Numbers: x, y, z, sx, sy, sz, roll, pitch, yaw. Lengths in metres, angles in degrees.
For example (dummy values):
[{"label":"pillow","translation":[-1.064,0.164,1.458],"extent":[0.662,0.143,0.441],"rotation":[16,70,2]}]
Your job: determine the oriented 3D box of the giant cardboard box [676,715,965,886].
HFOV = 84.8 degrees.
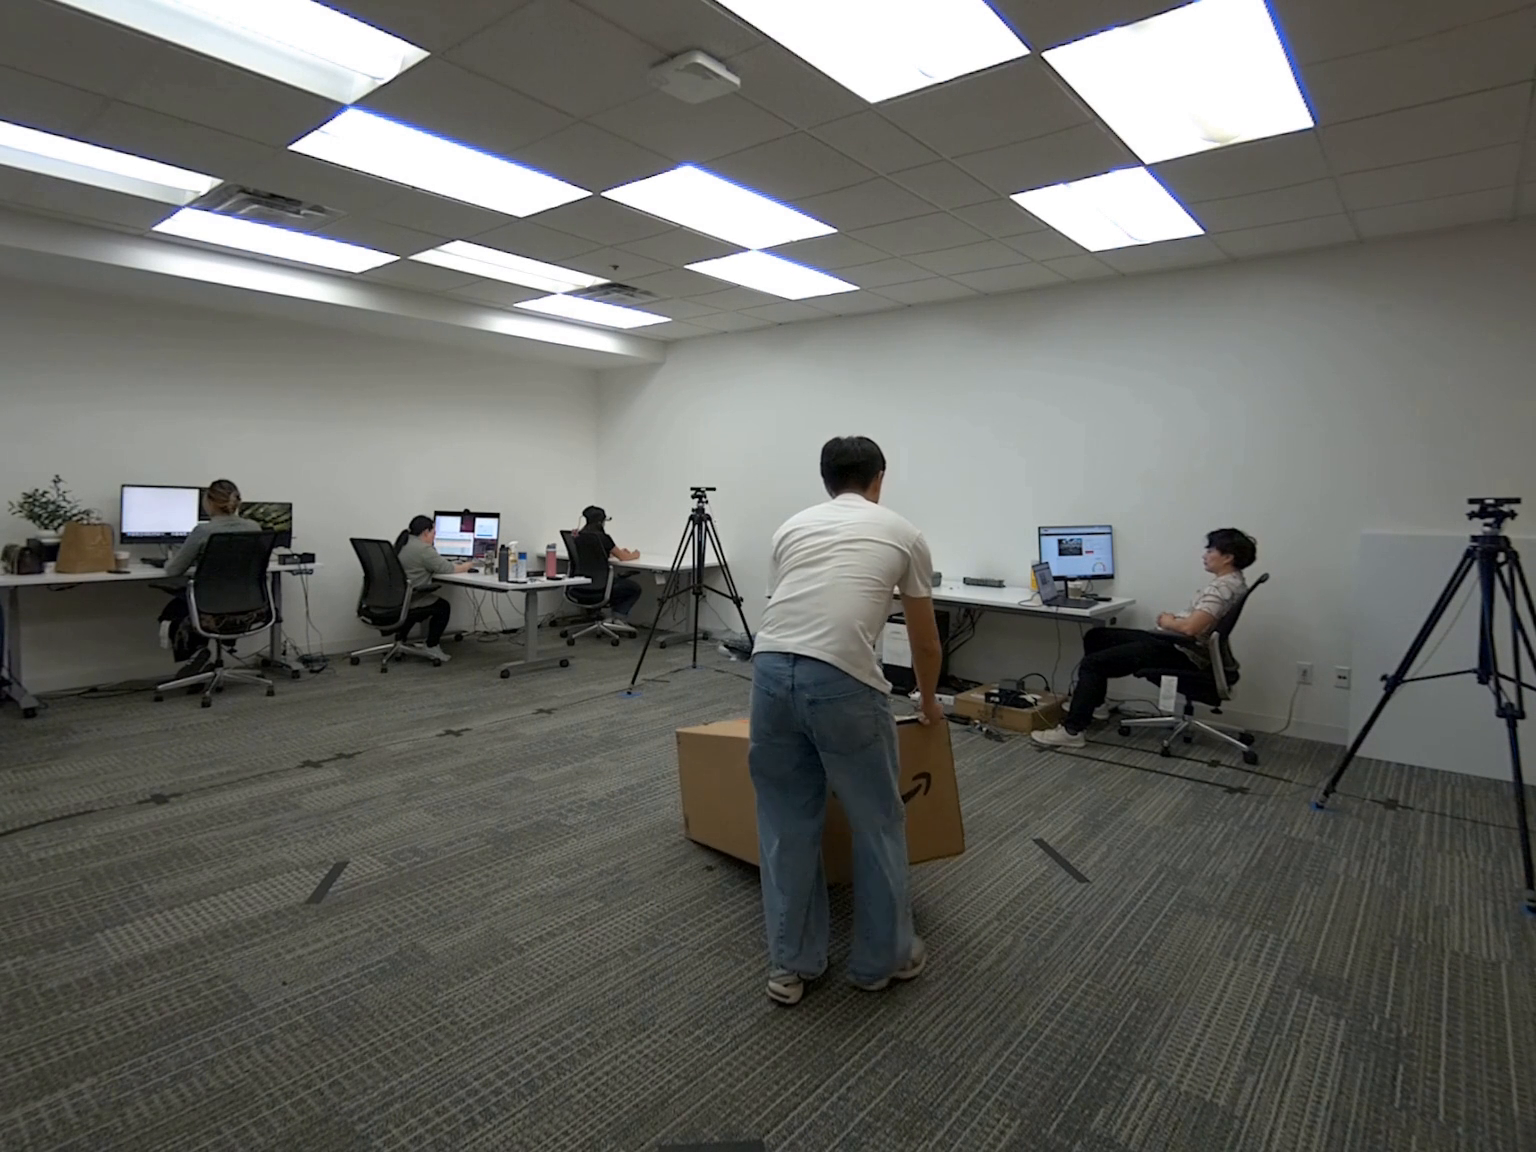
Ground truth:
[{"label":"giant cardboard box","translation":[0.122,0.745,3.084],"extent":[0.564,0.429,1.043],"rotation":[-3,-6,-27]}]
